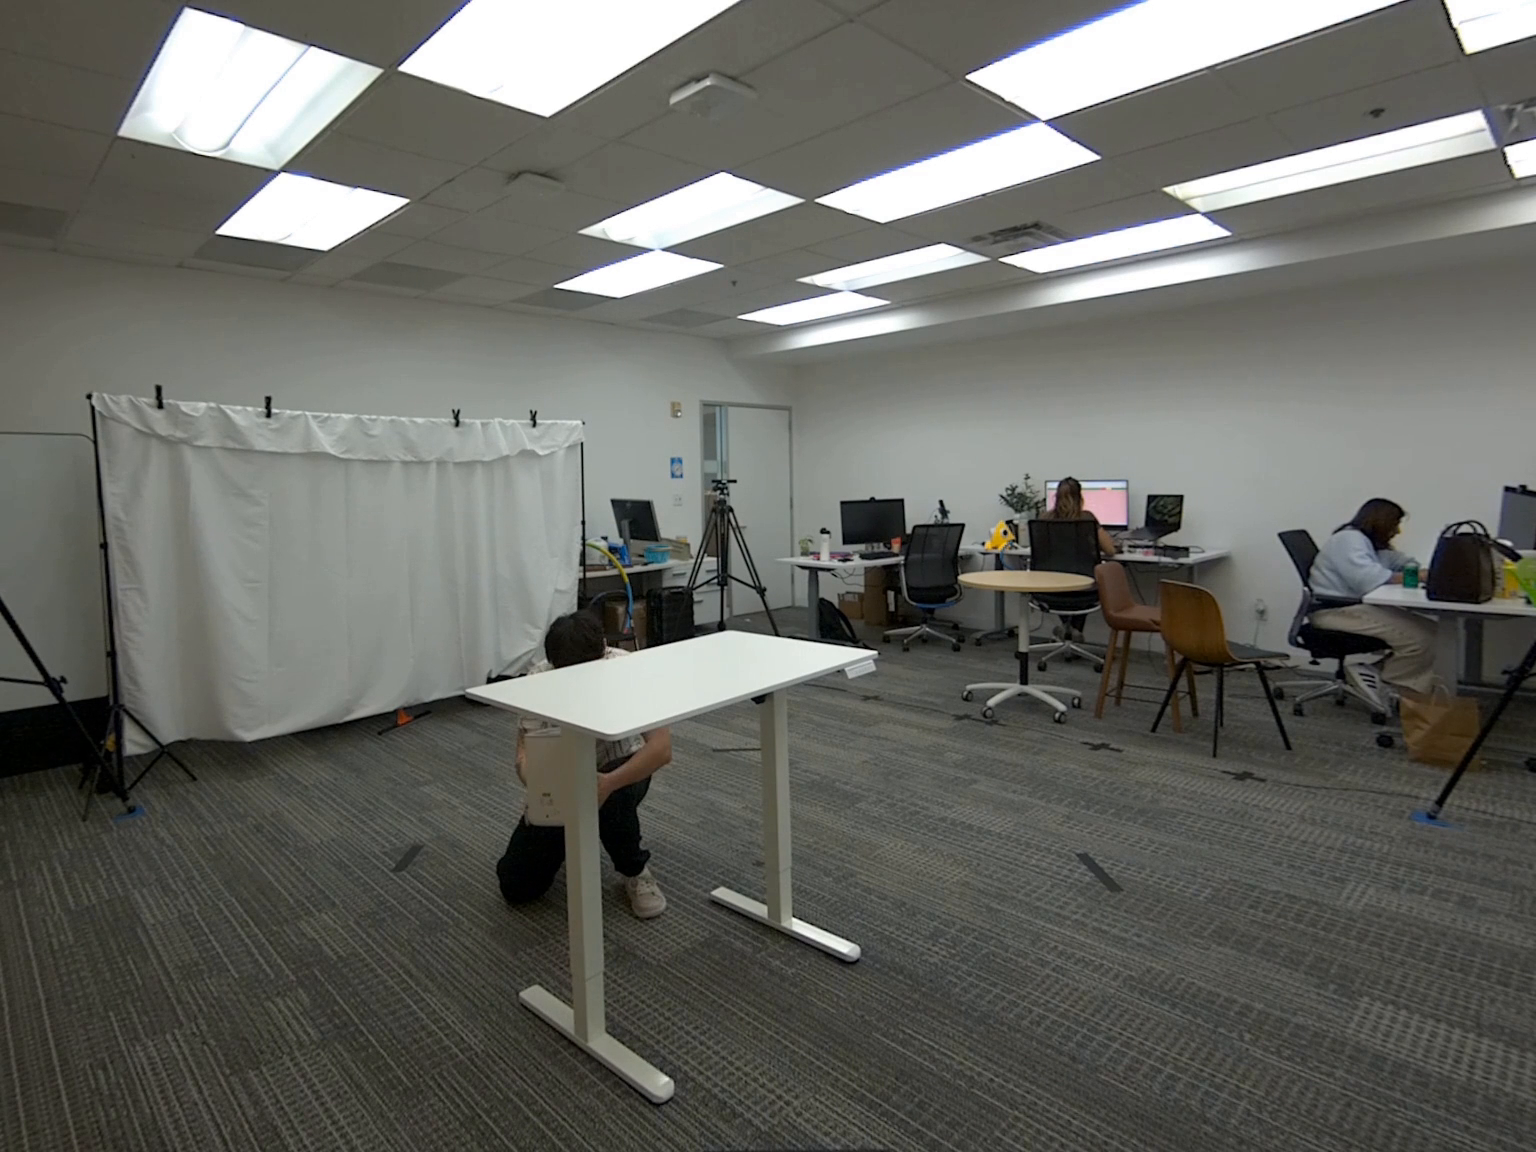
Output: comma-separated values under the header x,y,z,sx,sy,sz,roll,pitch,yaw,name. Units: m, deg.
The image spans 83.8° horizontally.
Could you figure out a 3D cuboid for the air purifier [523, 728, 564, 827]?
x,y,z,sx,sy,sz,roll,pitch,yaw,name
-0.627,0.601,2.565,0.173,0.266,0.169,-4,-2,11,air purifier
